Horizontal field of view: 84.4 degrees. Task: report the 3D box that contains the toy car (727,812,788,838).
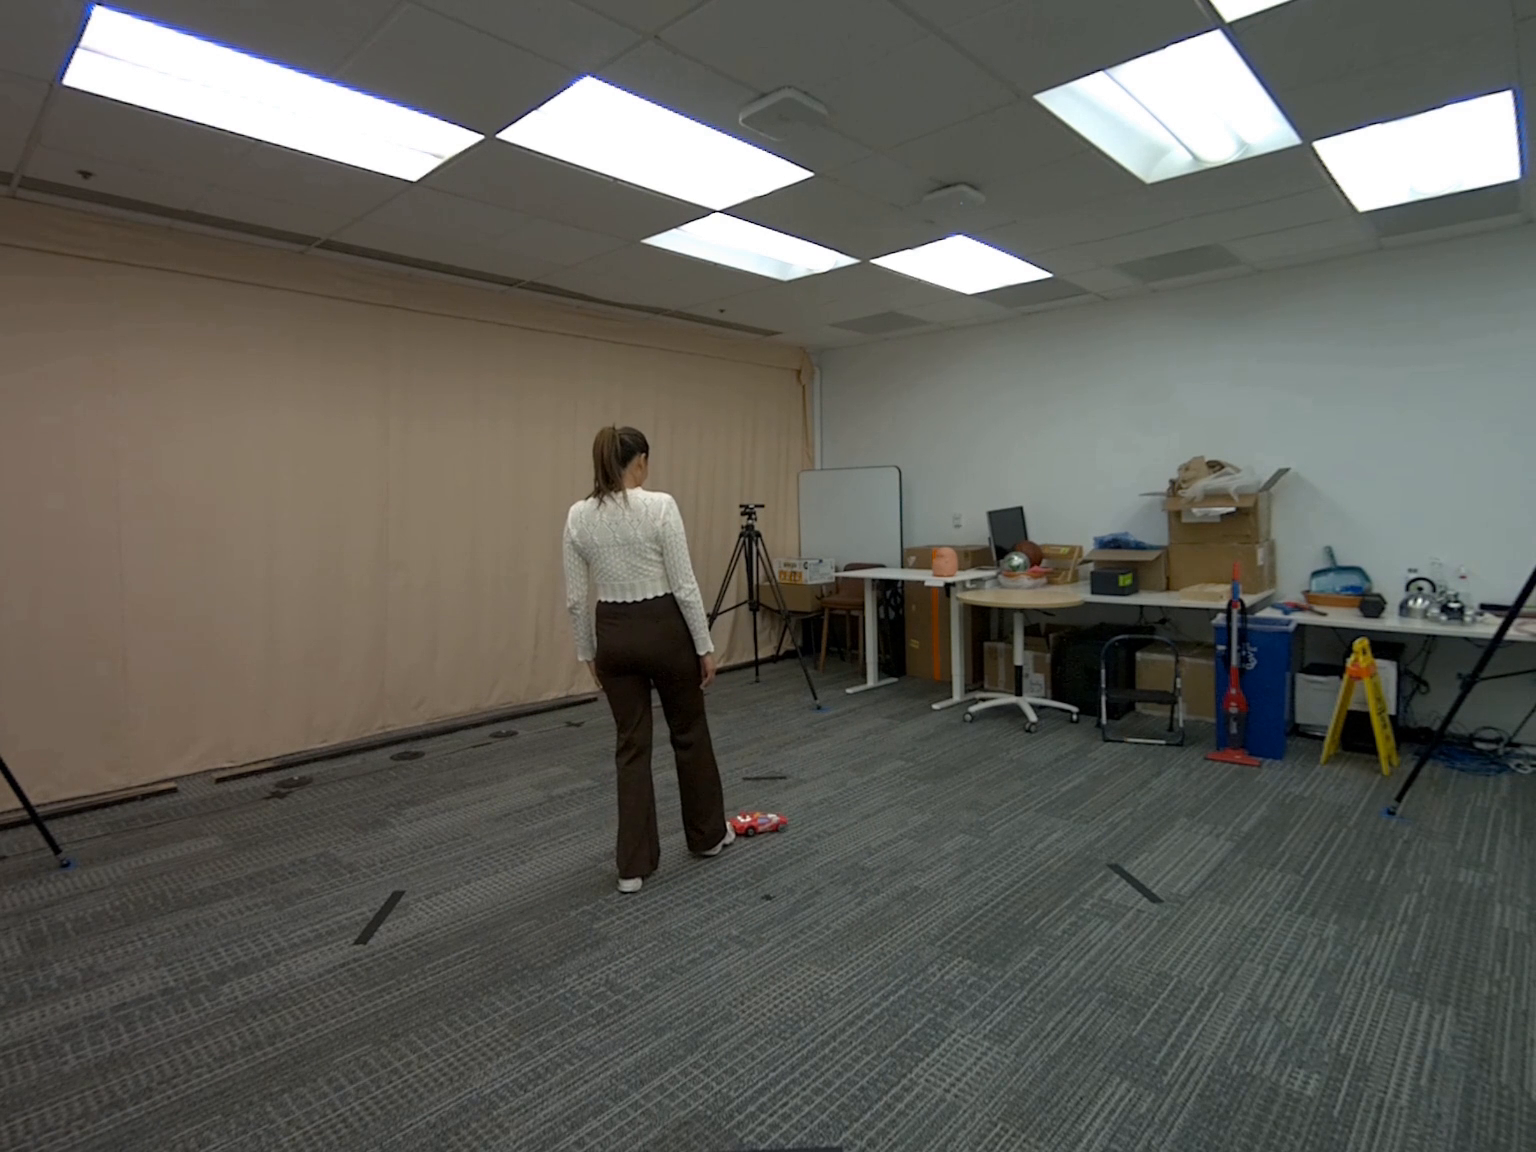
[{"bbox_3d":[-0.050,1.055,3.588,0.249,0.083,0.133,10,-1,-20],"label":"toy car"}]
